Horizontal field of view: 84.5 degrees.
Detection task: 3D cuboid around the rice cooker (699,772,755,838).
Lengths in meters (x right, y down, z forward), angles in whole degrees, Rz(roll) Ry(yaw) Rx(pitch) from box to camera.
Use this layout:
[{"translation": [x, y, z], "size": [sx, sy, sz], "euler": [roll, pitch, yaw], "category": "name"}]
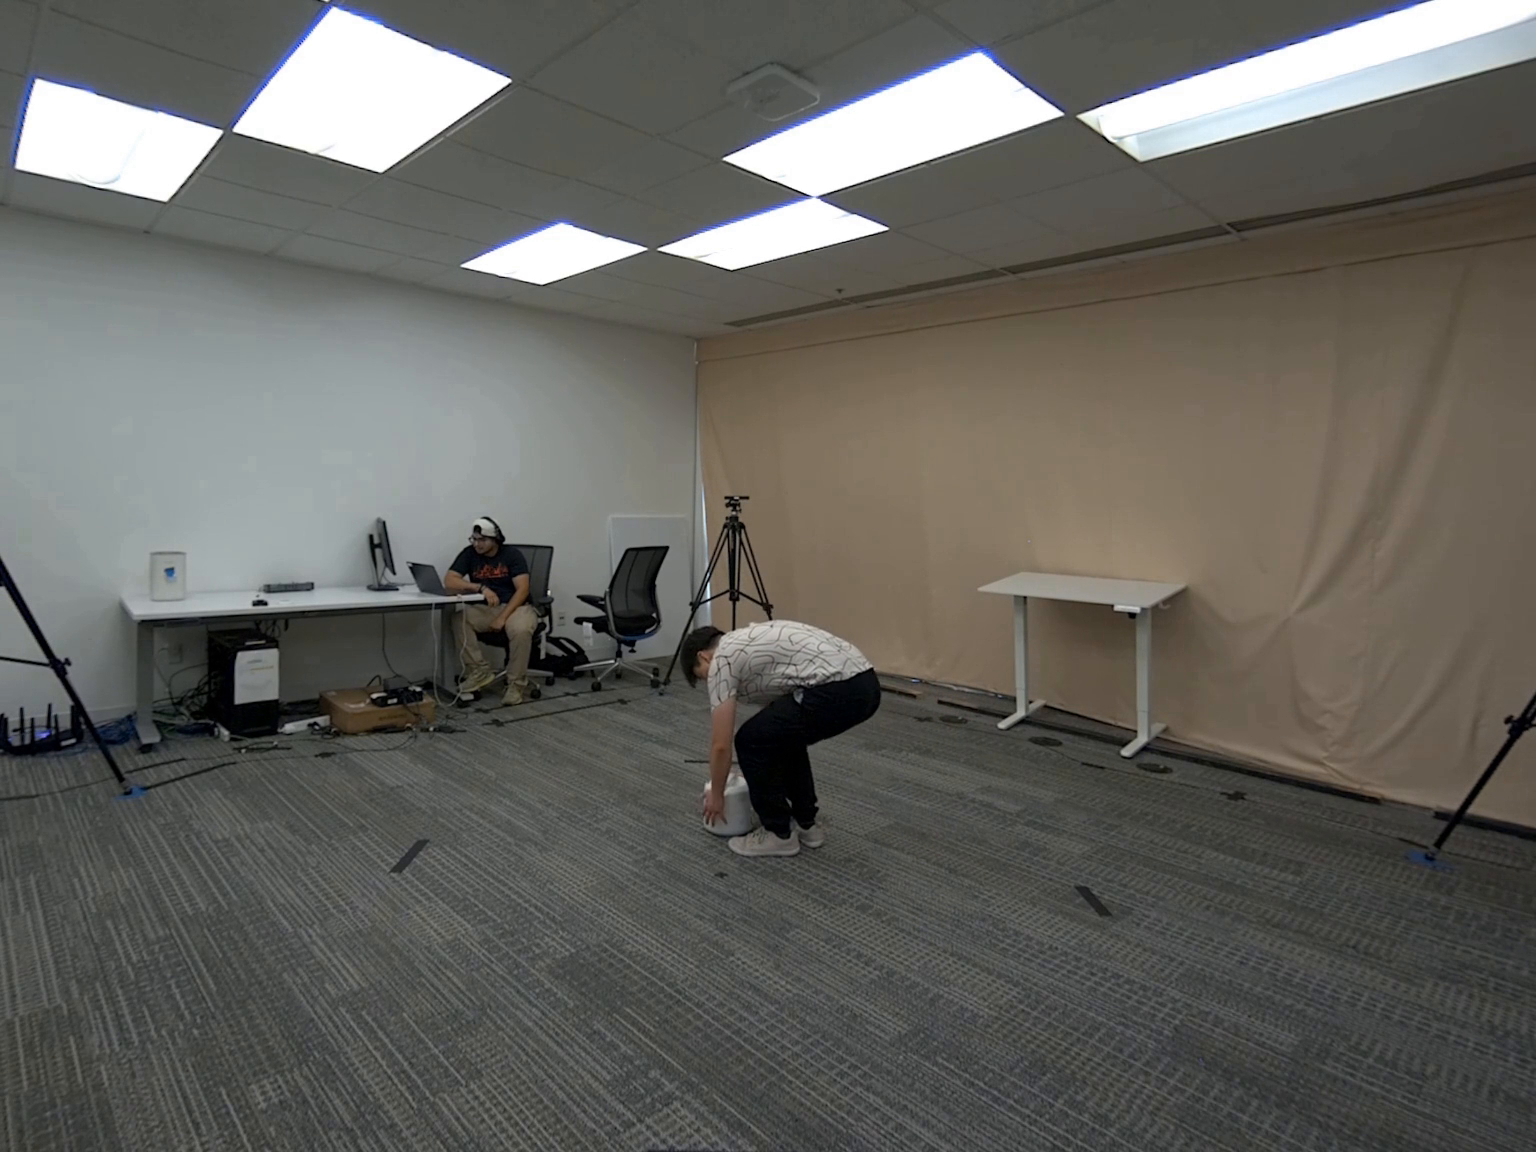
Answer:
[{"translation": [-0.162, 0.948, 3.526], "size": [0.220, 0.233, 0.218], "euler": [-2, 1, 13], "category": "rice cooker"}]
